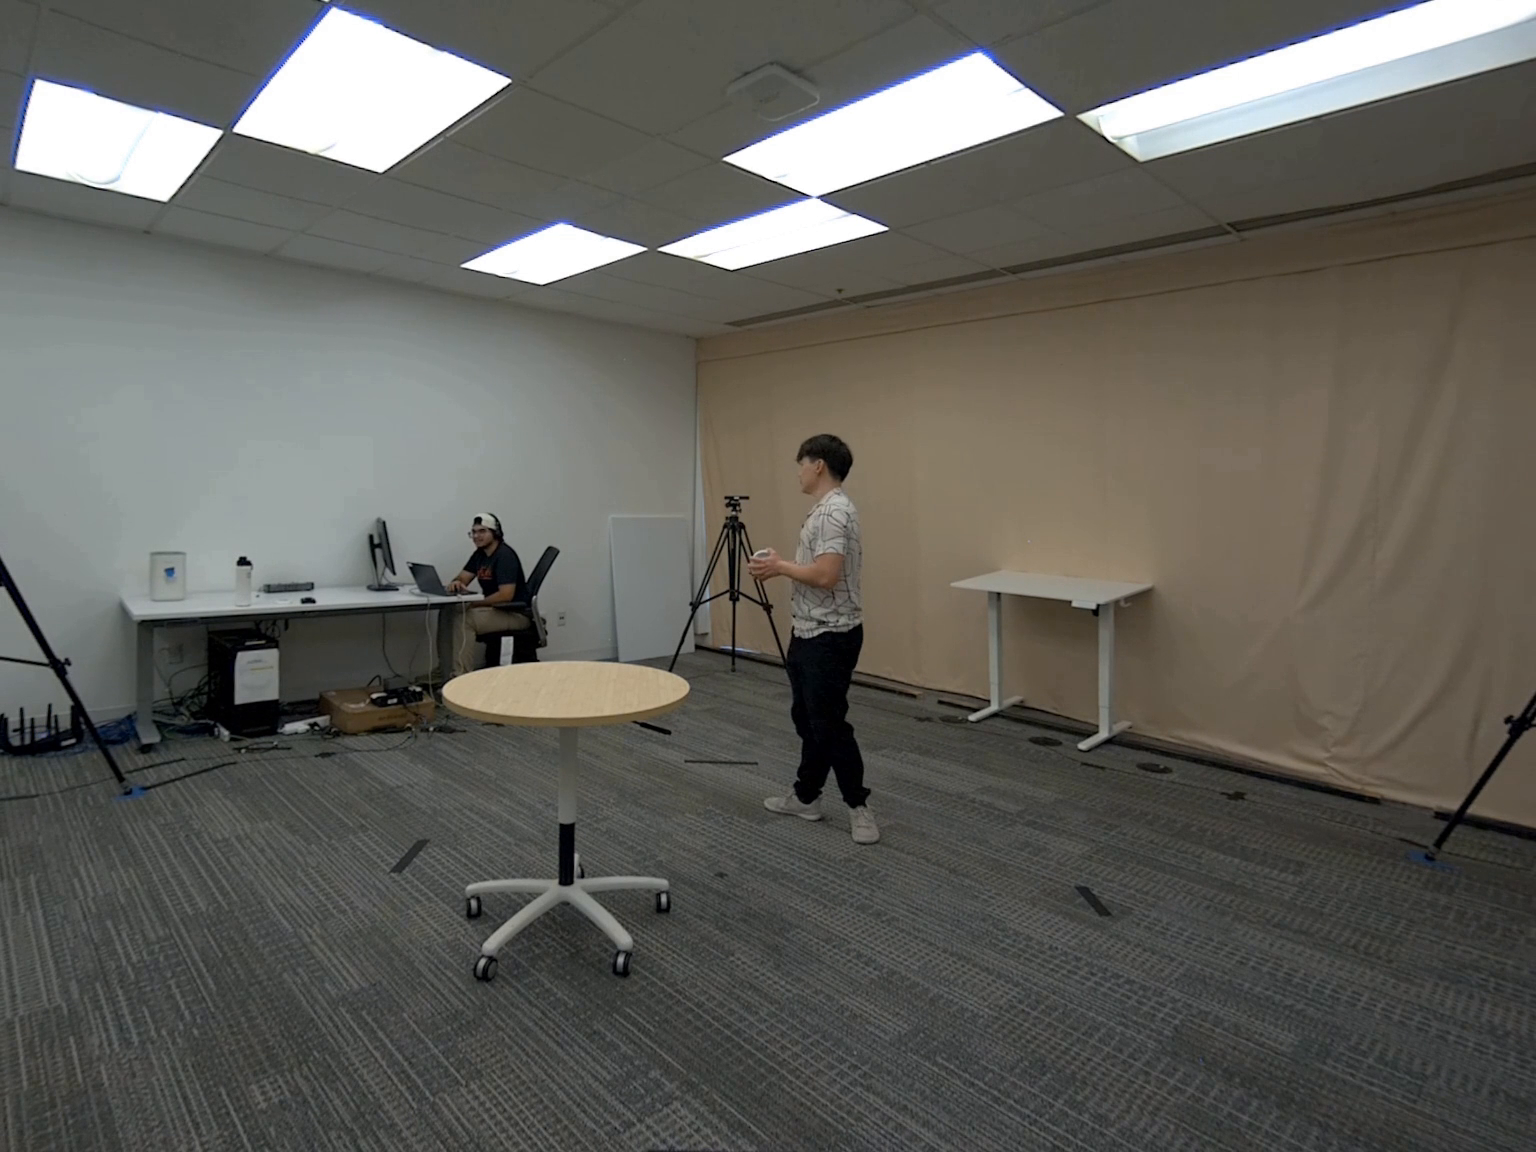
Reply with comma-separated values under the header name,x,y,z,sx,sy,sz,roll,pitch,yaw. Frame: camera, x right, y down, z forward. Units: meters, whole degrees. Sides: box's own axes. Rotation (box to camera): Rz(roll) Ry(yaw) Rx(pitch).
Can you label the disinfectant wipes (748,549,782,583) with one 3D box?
name,x,y,z,sx,sy,sz,roll,pitch,yaw
disinfectant wipes,-0.016,-0.042,3.620,0.117,0.118,0.217,1,-6,-5
